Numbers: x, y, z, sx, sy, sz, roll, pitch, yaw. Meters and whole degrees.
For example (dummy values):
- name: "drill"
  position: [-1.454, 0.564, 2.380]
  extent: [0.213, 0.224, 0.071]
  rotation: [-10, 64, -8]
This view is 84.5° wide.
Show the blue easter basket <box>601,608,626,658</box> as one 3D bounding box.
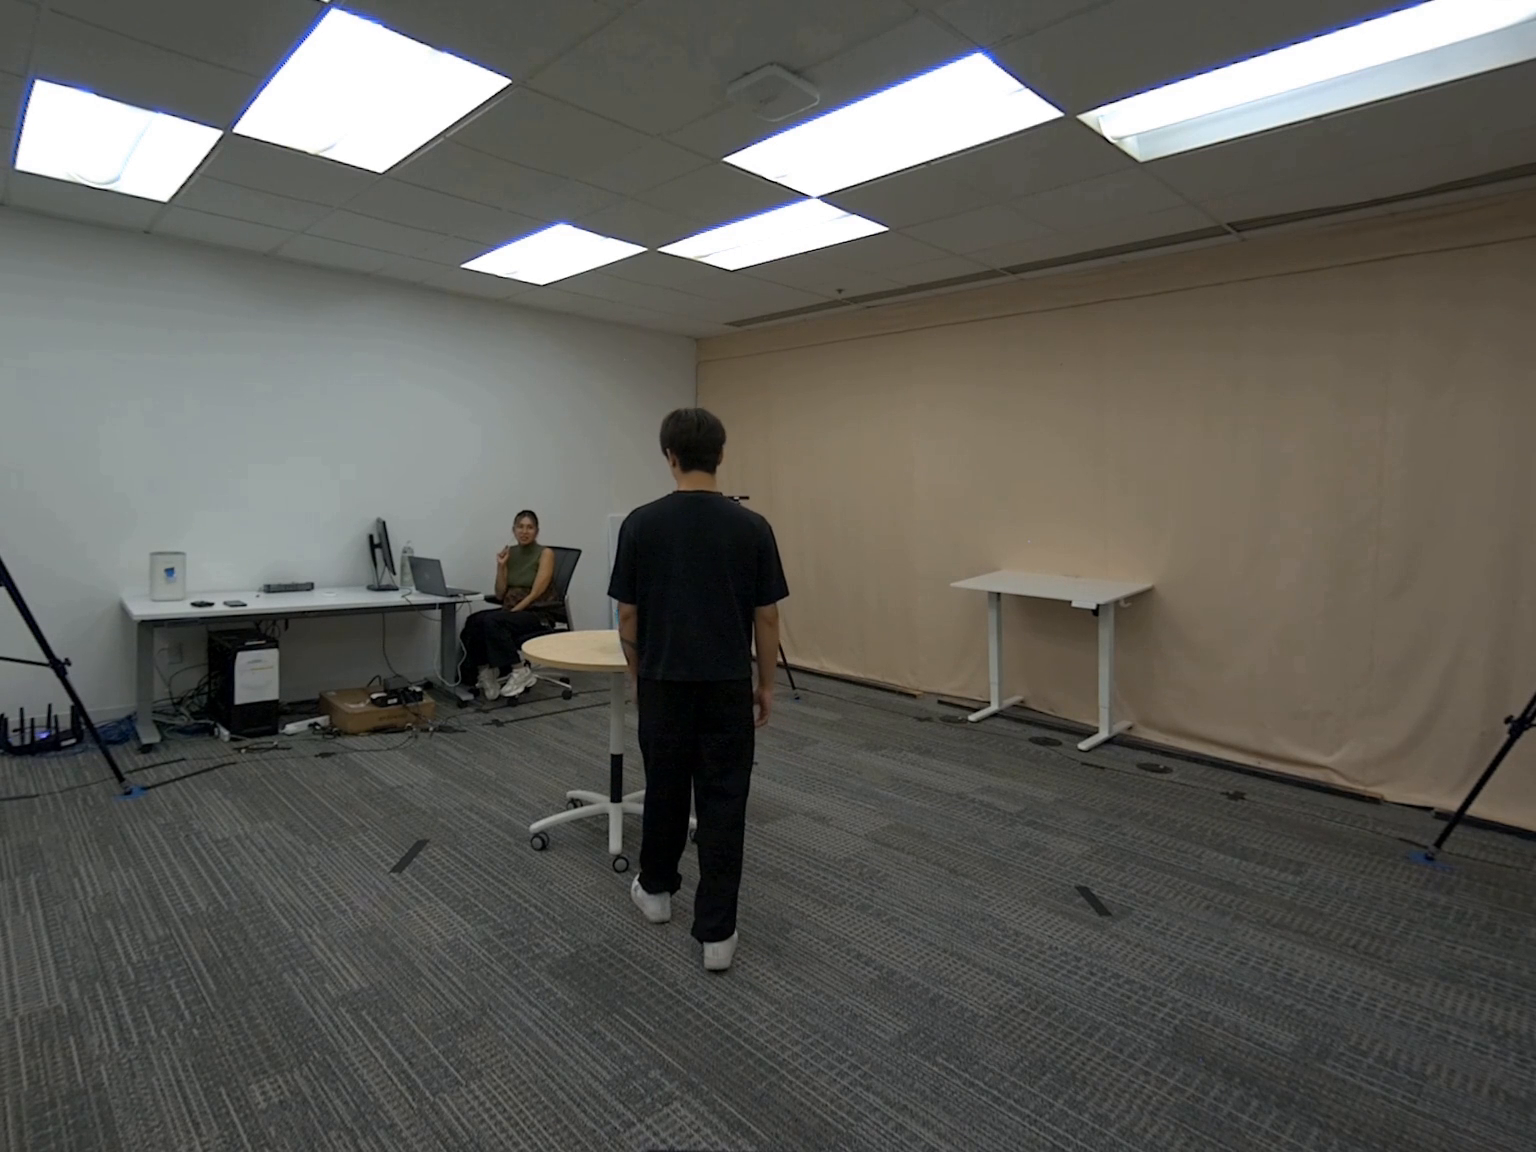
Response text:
- name: "blue easter basket"
  position: [-0.517, 0.220, 3.339]
  extent: [0.243, 0.155, 0.244]
  rotation: [1, 4, -1]
